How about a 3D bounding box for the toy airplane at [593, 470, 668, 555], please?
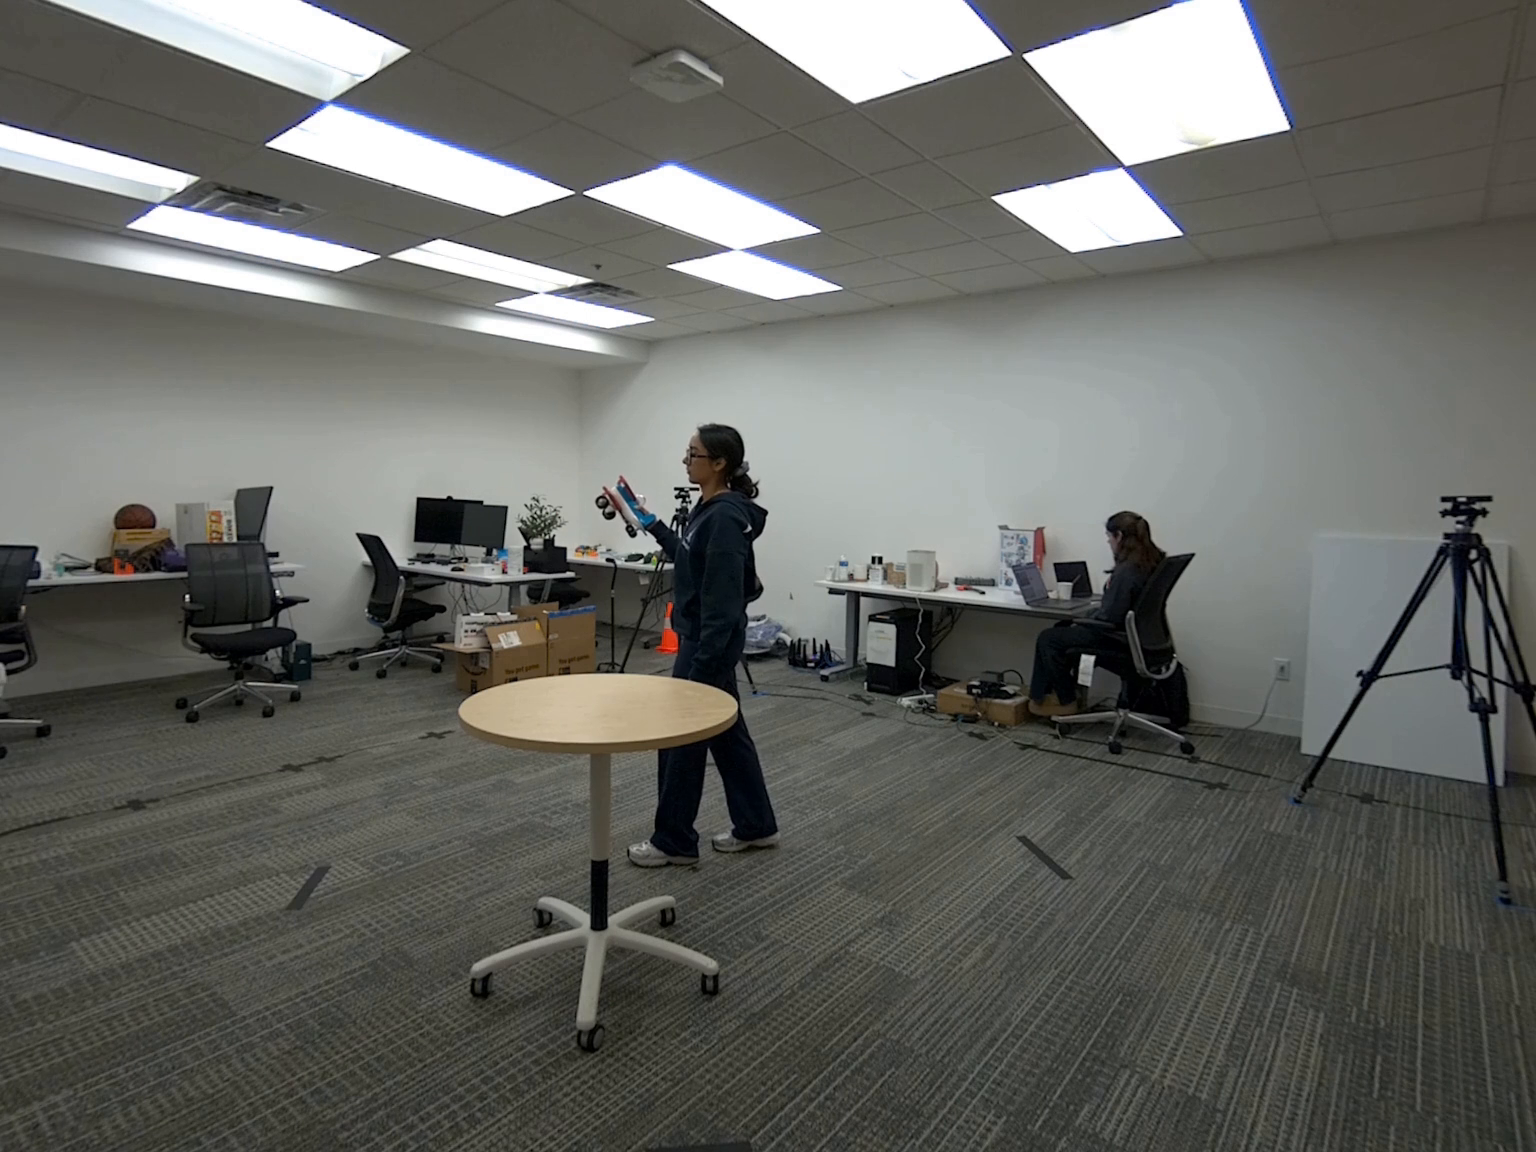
[{"bbox_3d":[-0.573,-0.263,3.483,0.156,0.261,0.250,-45,-2,-14],"label":"toy airplane"}]
